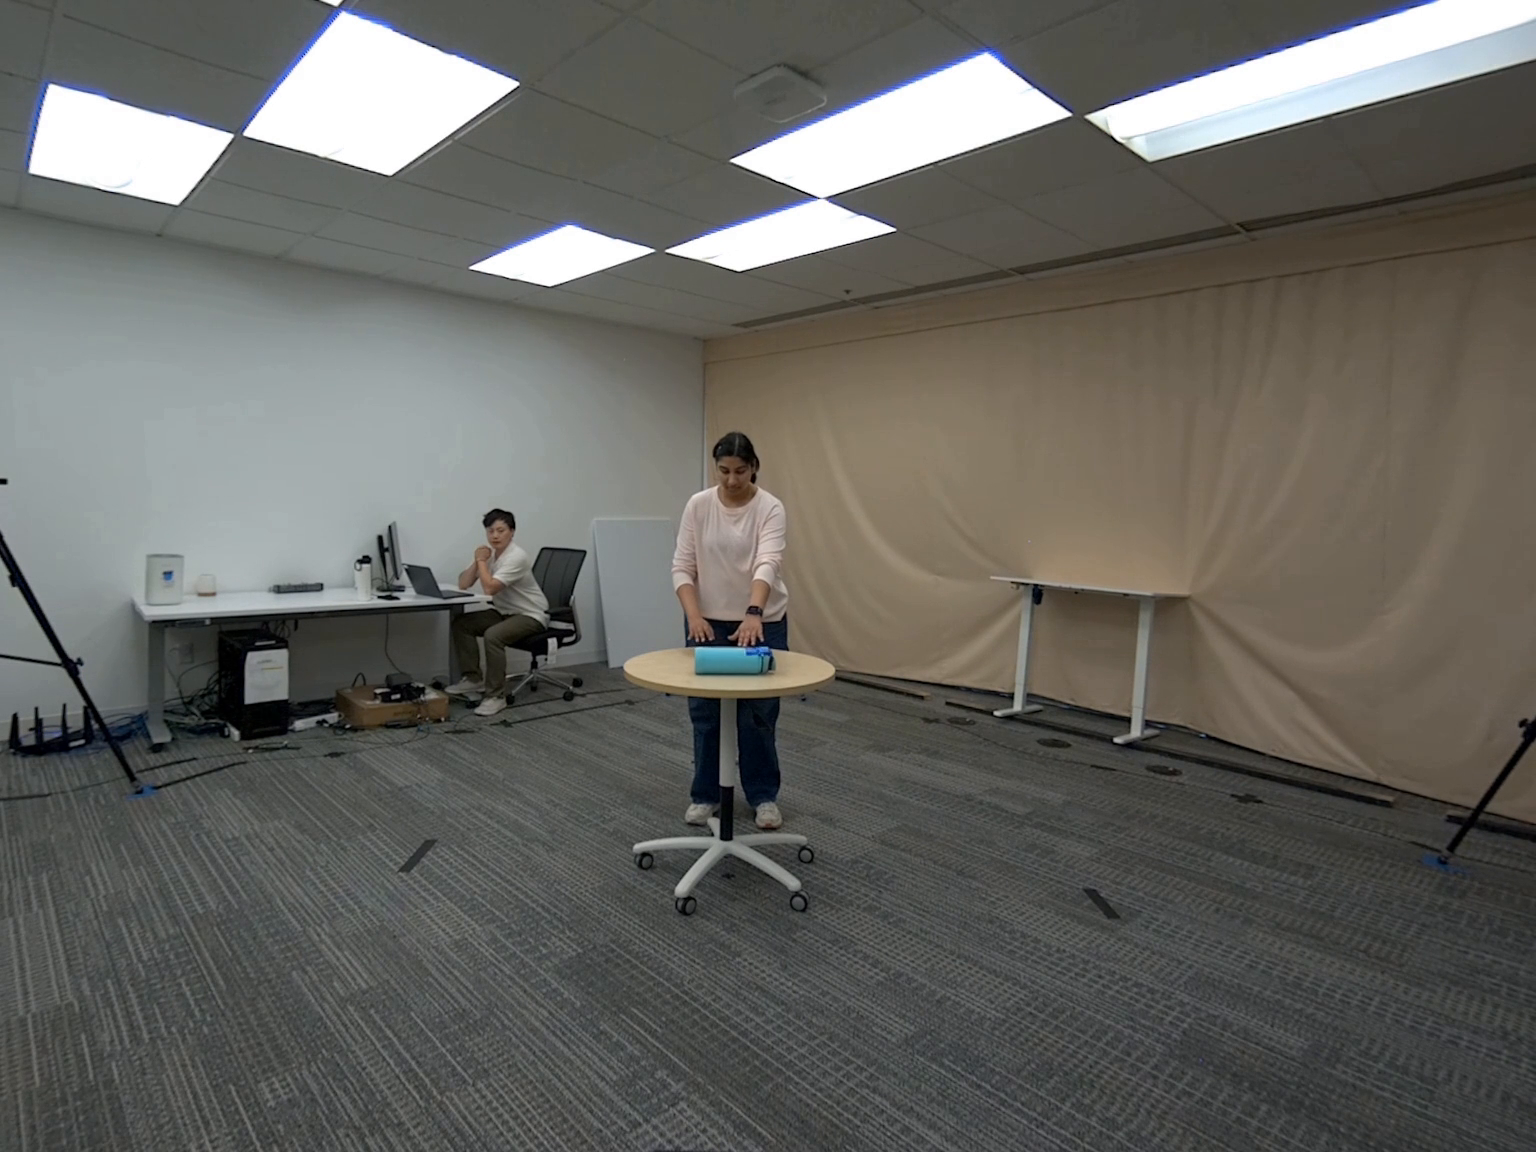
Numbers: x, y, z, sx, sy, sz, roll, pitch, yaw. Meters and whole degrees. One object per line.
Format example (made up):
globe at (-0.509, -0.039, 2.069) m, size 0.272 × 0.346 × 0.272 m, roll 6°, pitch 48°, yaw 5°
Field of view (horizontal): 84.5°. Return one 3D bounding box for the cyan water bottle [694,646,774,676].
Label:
cyan water bottle at (-0.126, 0.295, 2.921) m, size 0.283 × 0.092 × 0.093 m, roll 0°, pitch 4°, yaw -3°
